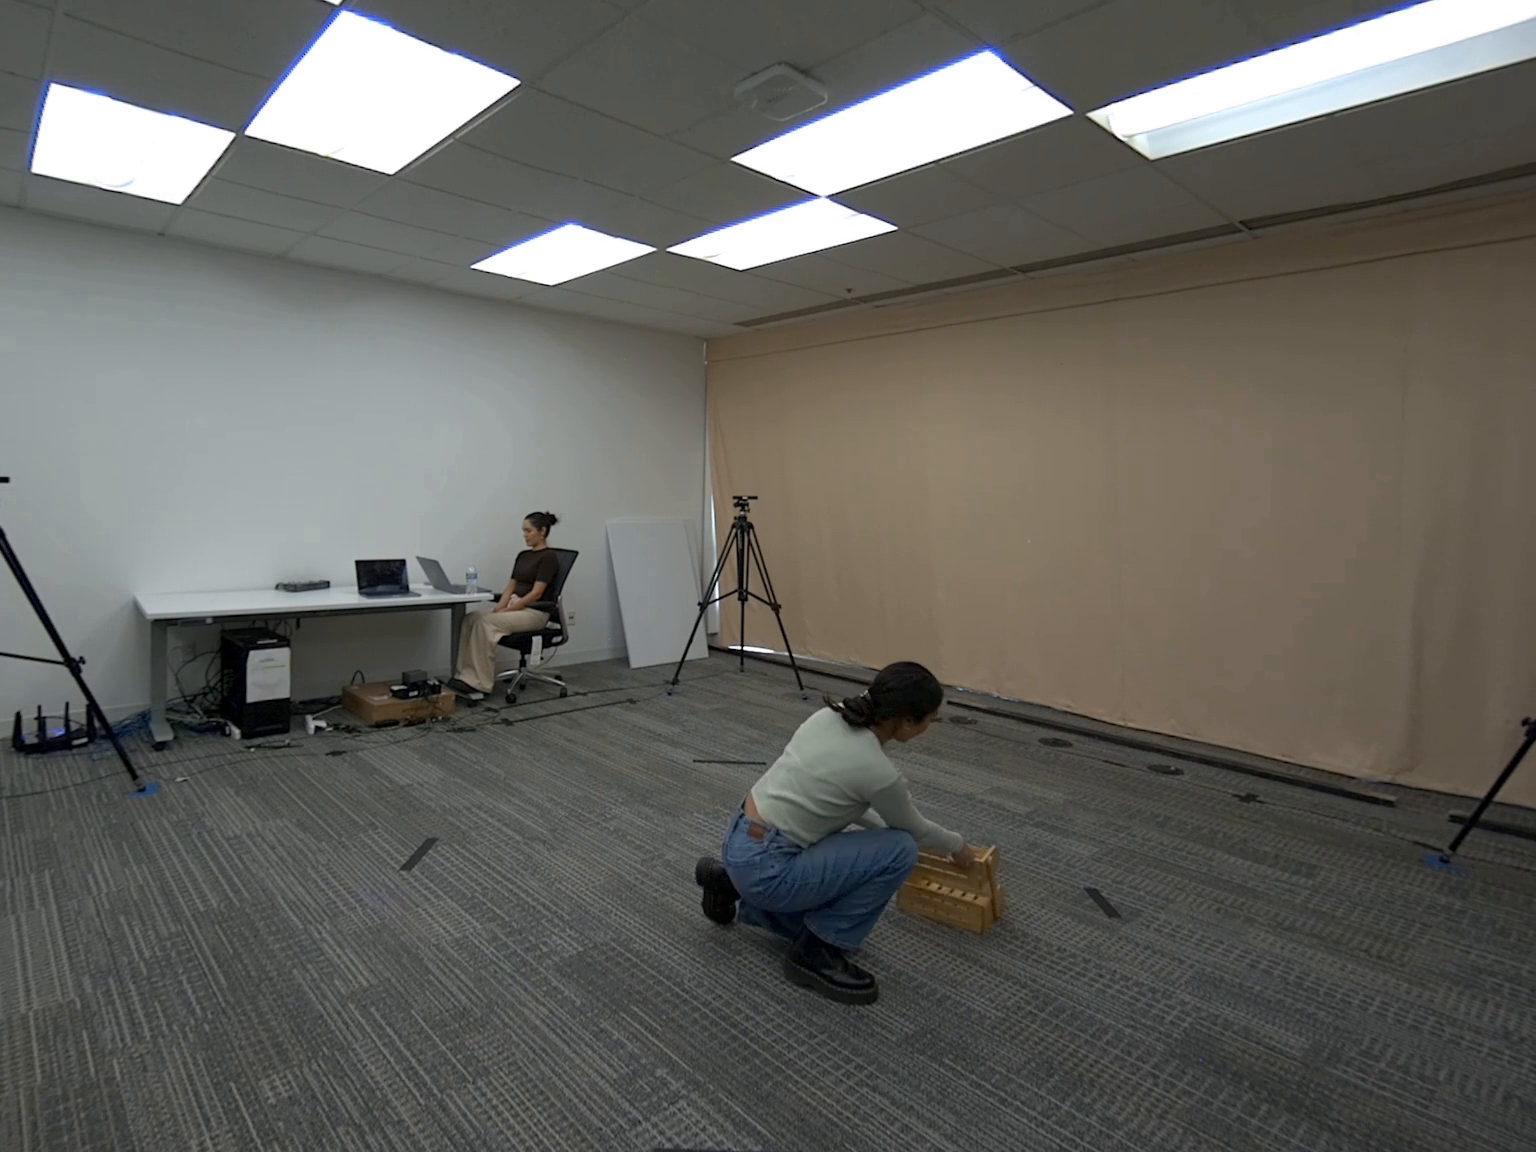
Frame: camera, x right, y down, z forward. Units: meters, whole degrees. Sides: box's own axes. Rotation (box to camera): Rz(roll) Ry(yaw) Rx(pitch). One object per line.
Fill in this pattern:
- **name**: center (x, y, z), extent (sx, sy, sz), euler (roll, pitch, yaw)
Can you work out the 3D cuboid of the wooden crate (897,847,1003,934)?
- **wooden crate**: center (0.619, 1.013, 2.876), extent (0.332, 0.272, 0.296), euler (4, 5, 32)
